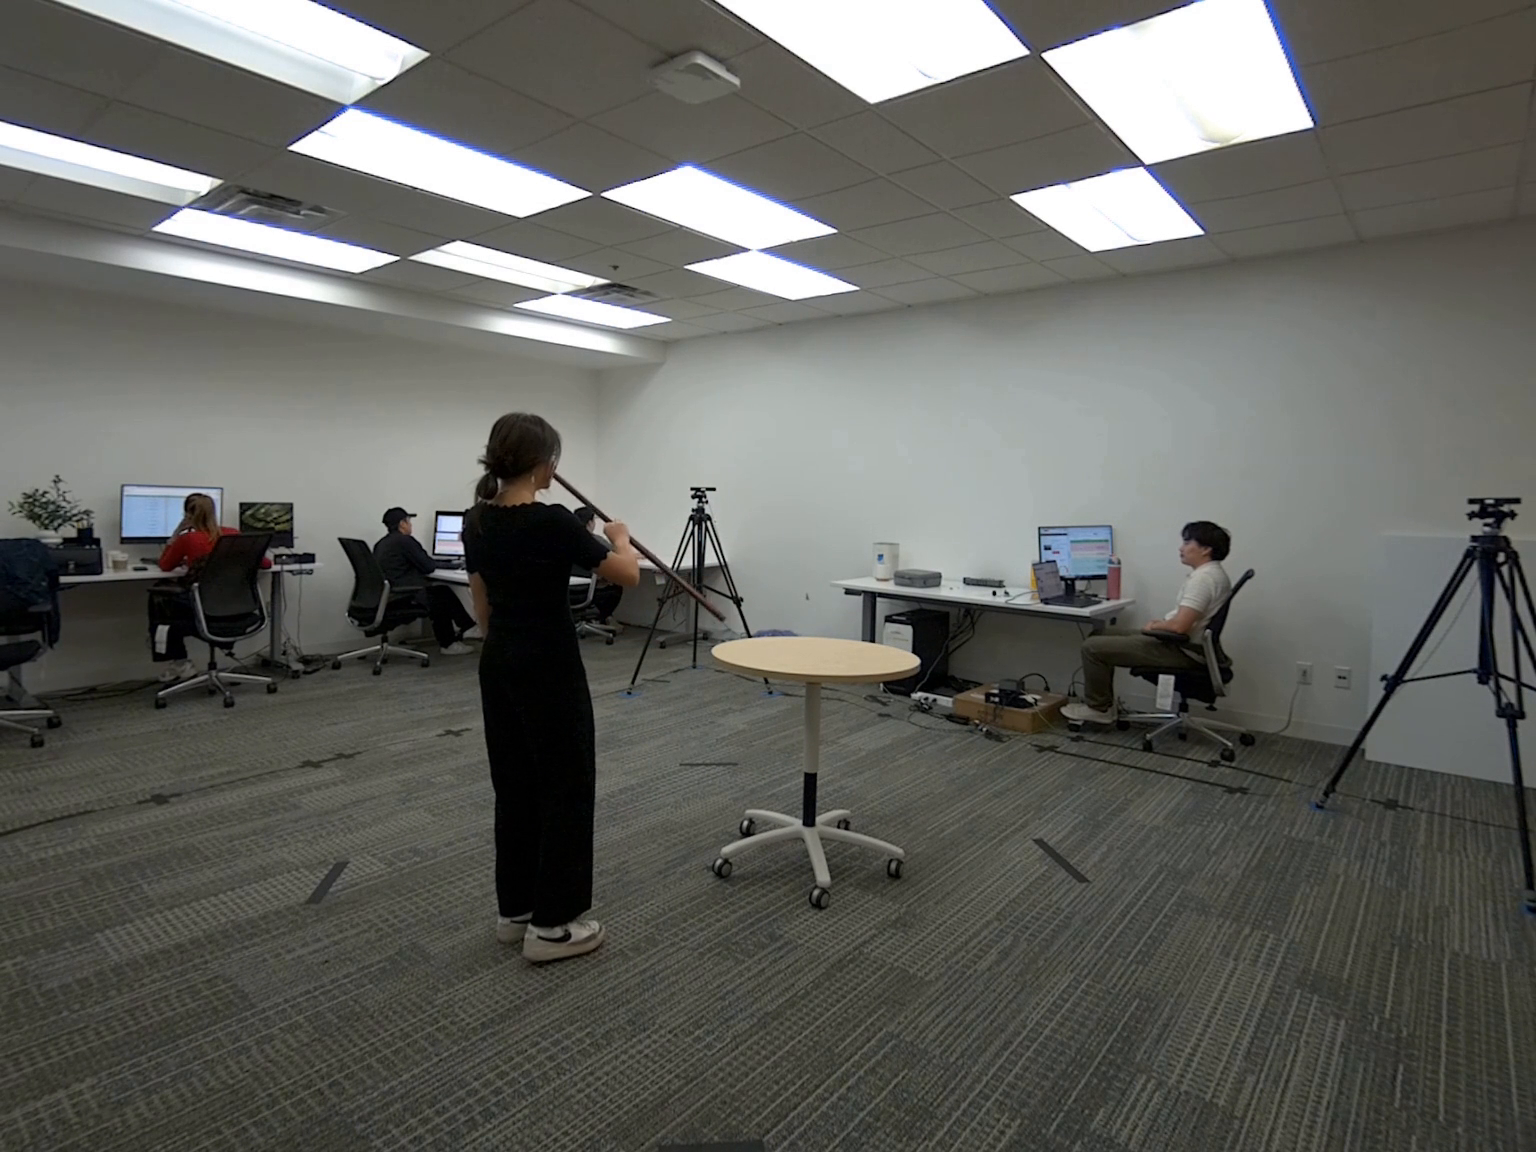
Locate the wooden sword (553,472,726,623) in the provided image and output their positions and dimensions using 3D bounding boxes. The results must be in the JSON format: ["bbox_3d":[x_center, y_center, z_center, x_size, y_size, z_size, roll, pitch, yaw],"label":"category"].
[{"bbox_3d":[-0.500,-0.188,2.790,1.053,0.051,0.023,40,31,20],"label":"wooden sword"}]
